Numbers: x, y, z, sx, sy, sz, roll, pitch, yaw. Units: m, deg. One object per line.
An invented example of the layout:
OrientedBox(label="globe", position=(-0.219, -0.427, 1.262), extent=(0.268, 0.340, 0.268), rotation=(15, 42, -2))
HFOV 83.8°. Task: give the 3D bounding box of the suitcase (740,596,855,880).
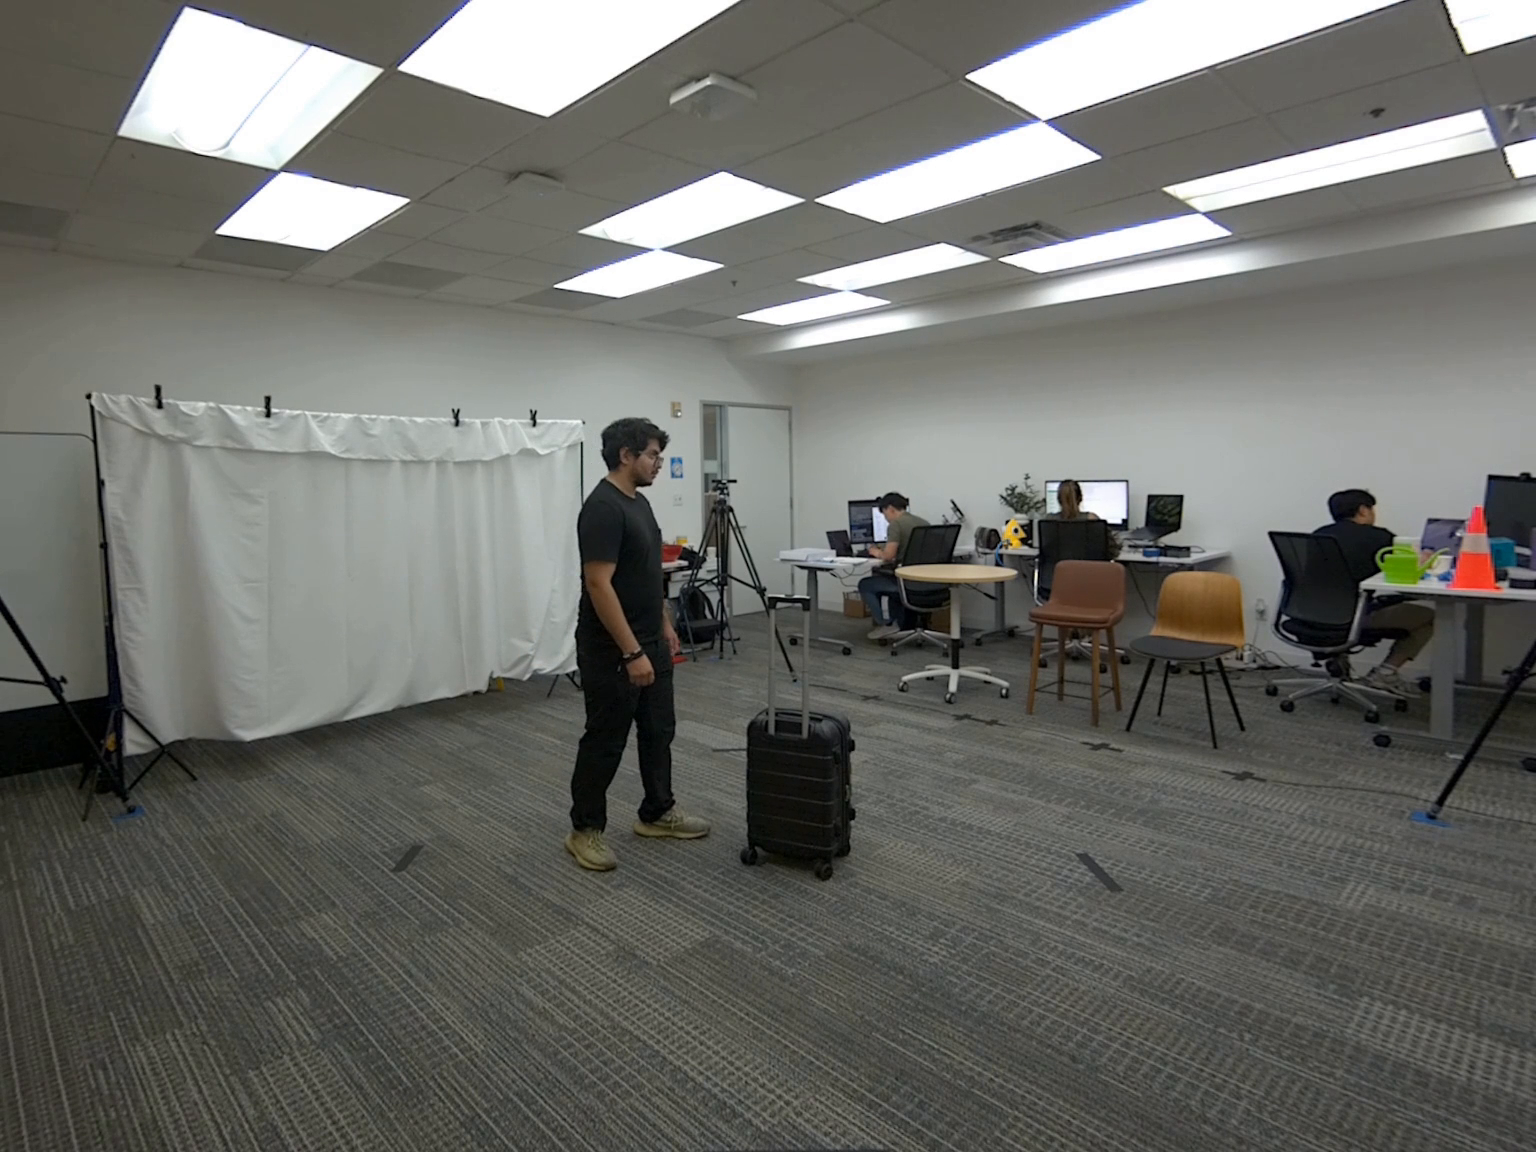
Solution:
OrientedBox(label="suitcase", position=(0.110, 0.561, 3.144), extent=(0.392, 0.979, 0.251), rotation=(0, 0, 23))
